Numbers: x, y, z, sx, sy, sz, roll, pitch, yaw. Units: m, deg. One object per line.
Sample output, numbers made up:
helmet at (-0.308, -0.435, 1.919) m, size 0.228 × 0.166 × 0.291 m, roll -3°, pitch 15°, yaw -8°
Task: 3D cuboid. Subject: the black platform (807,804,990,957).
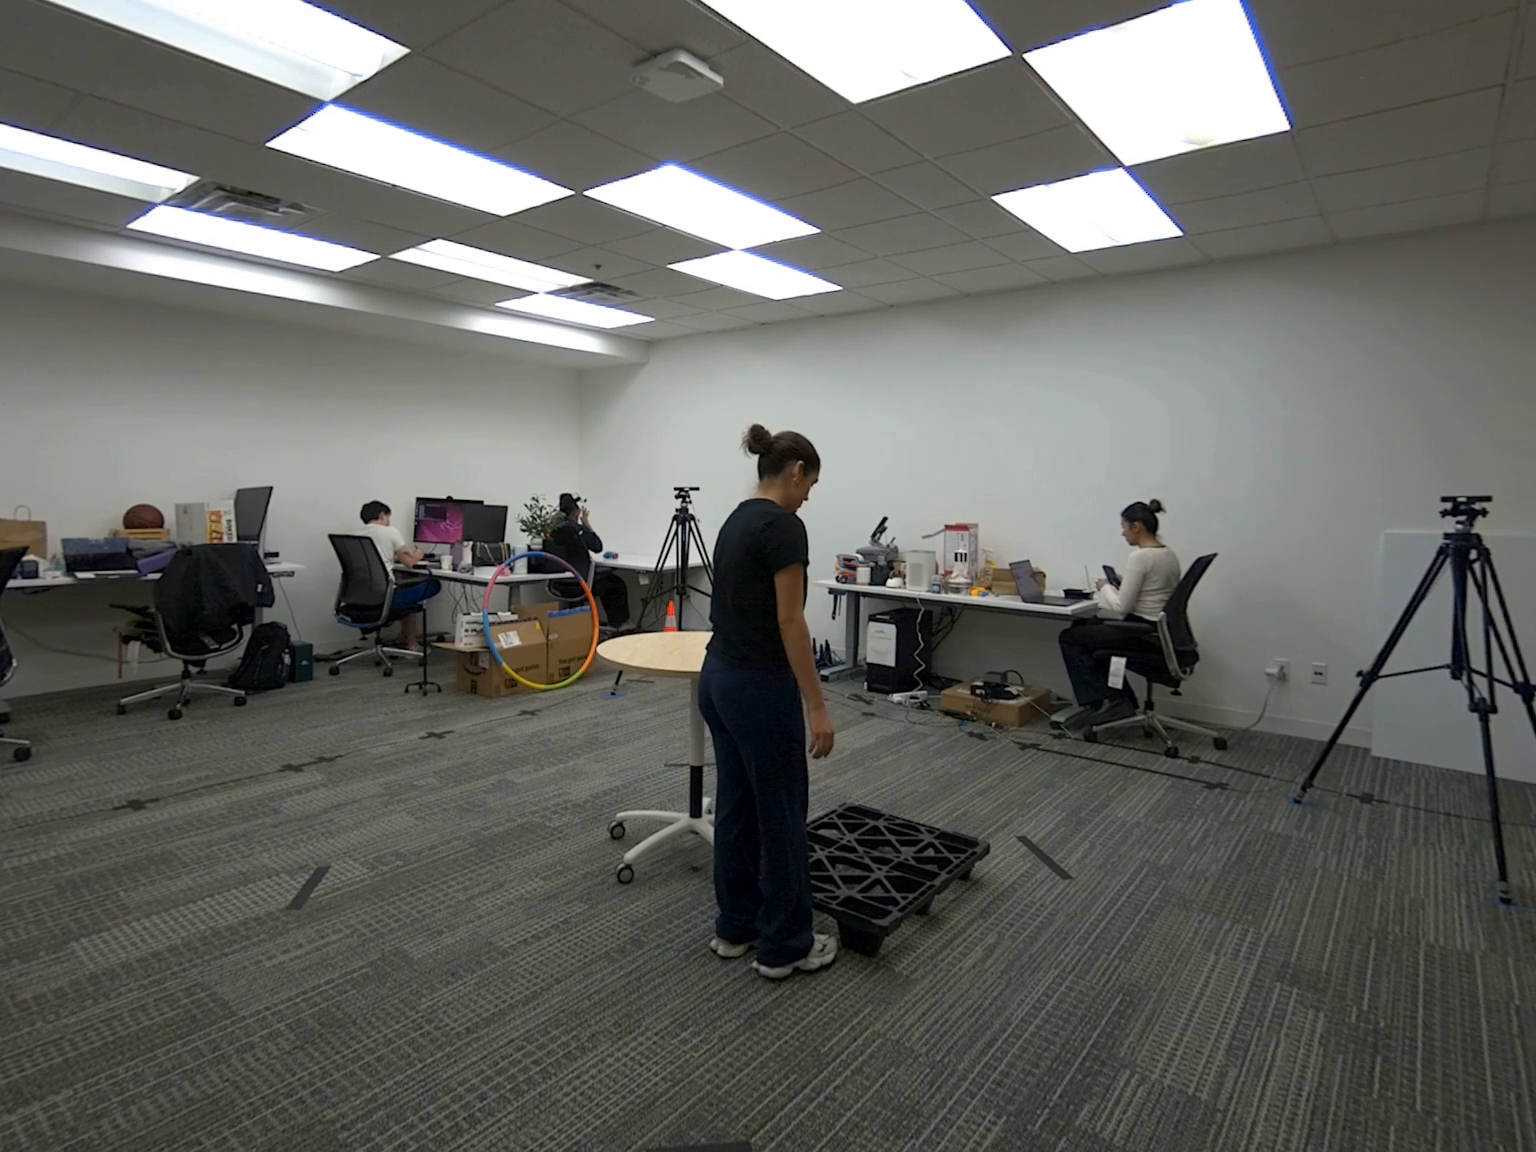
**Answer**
black platform at (0.343, 1.025, 2.964) m, size 0.625 × 0.143 × 0.782 m, roll 5°, pitch 7°, yaw 38°
